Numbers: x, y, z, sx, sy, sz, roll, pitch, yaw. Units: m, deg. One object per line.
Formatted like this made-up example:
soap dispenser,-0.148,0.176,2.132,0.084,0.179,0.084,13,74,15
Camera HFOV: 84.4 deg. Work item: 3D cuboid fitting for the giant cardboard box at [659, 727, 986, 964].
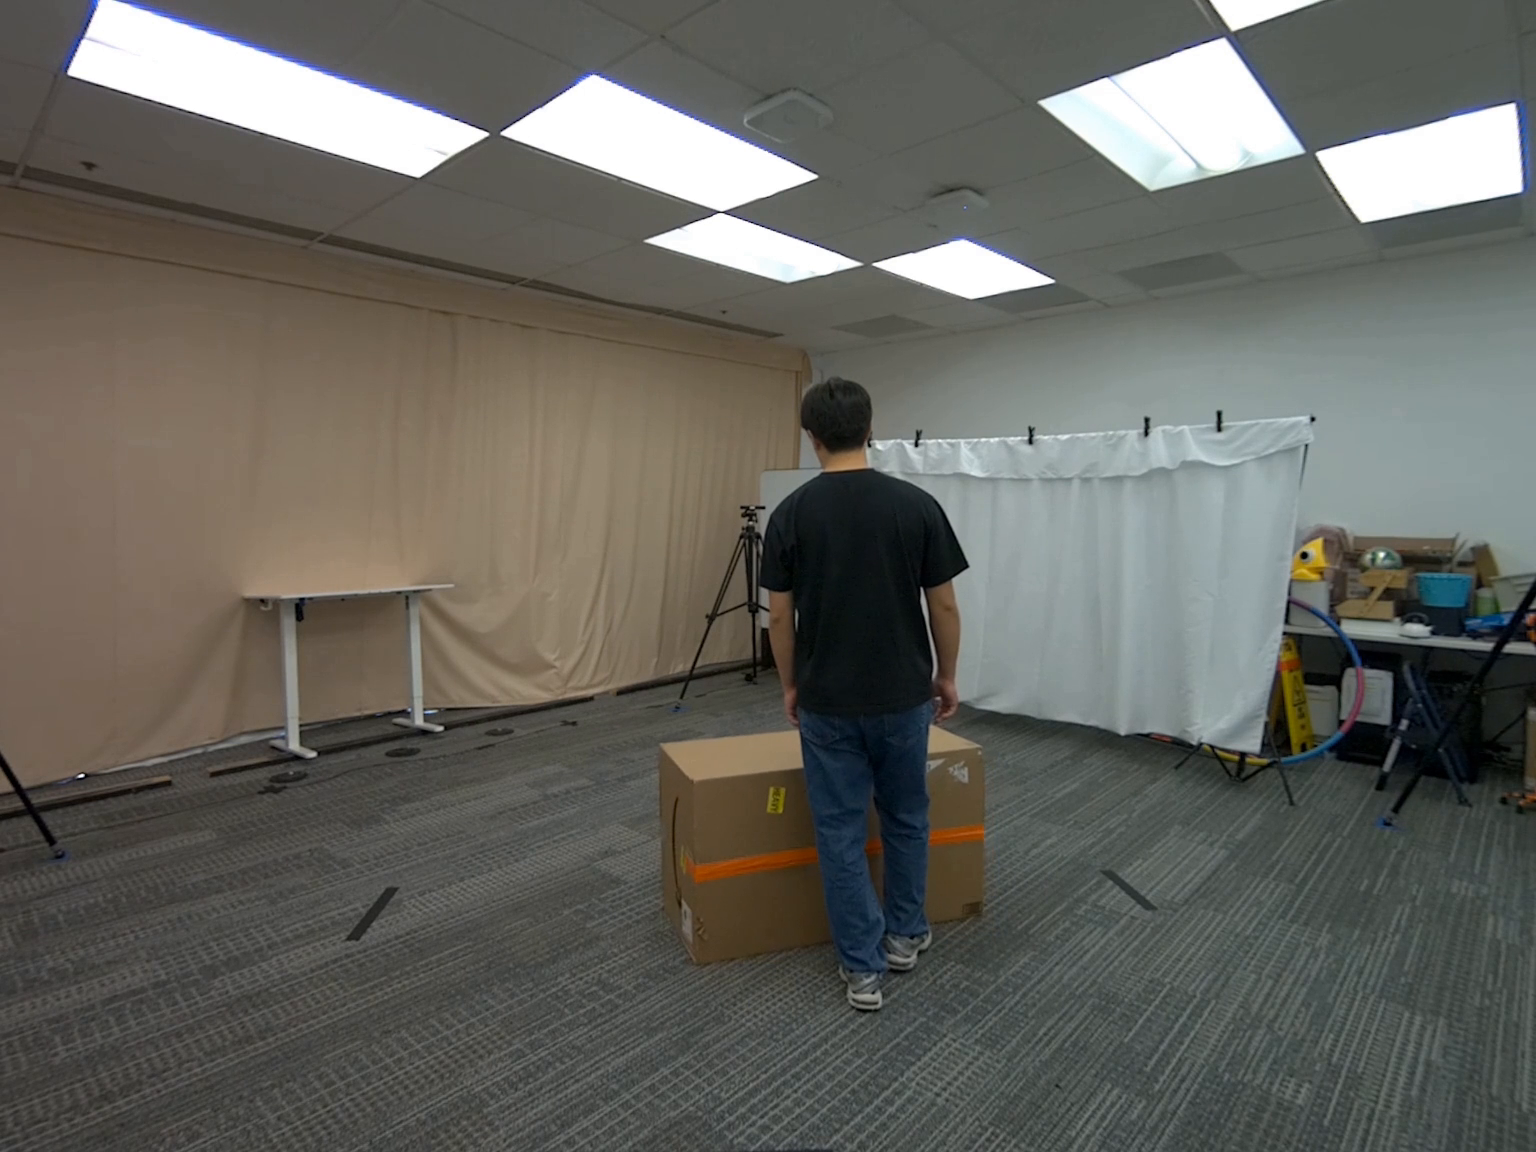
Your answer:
giant cardboard box,0.176,0.863,2.884,1.008,0.582,0.456,-2,5,-19
